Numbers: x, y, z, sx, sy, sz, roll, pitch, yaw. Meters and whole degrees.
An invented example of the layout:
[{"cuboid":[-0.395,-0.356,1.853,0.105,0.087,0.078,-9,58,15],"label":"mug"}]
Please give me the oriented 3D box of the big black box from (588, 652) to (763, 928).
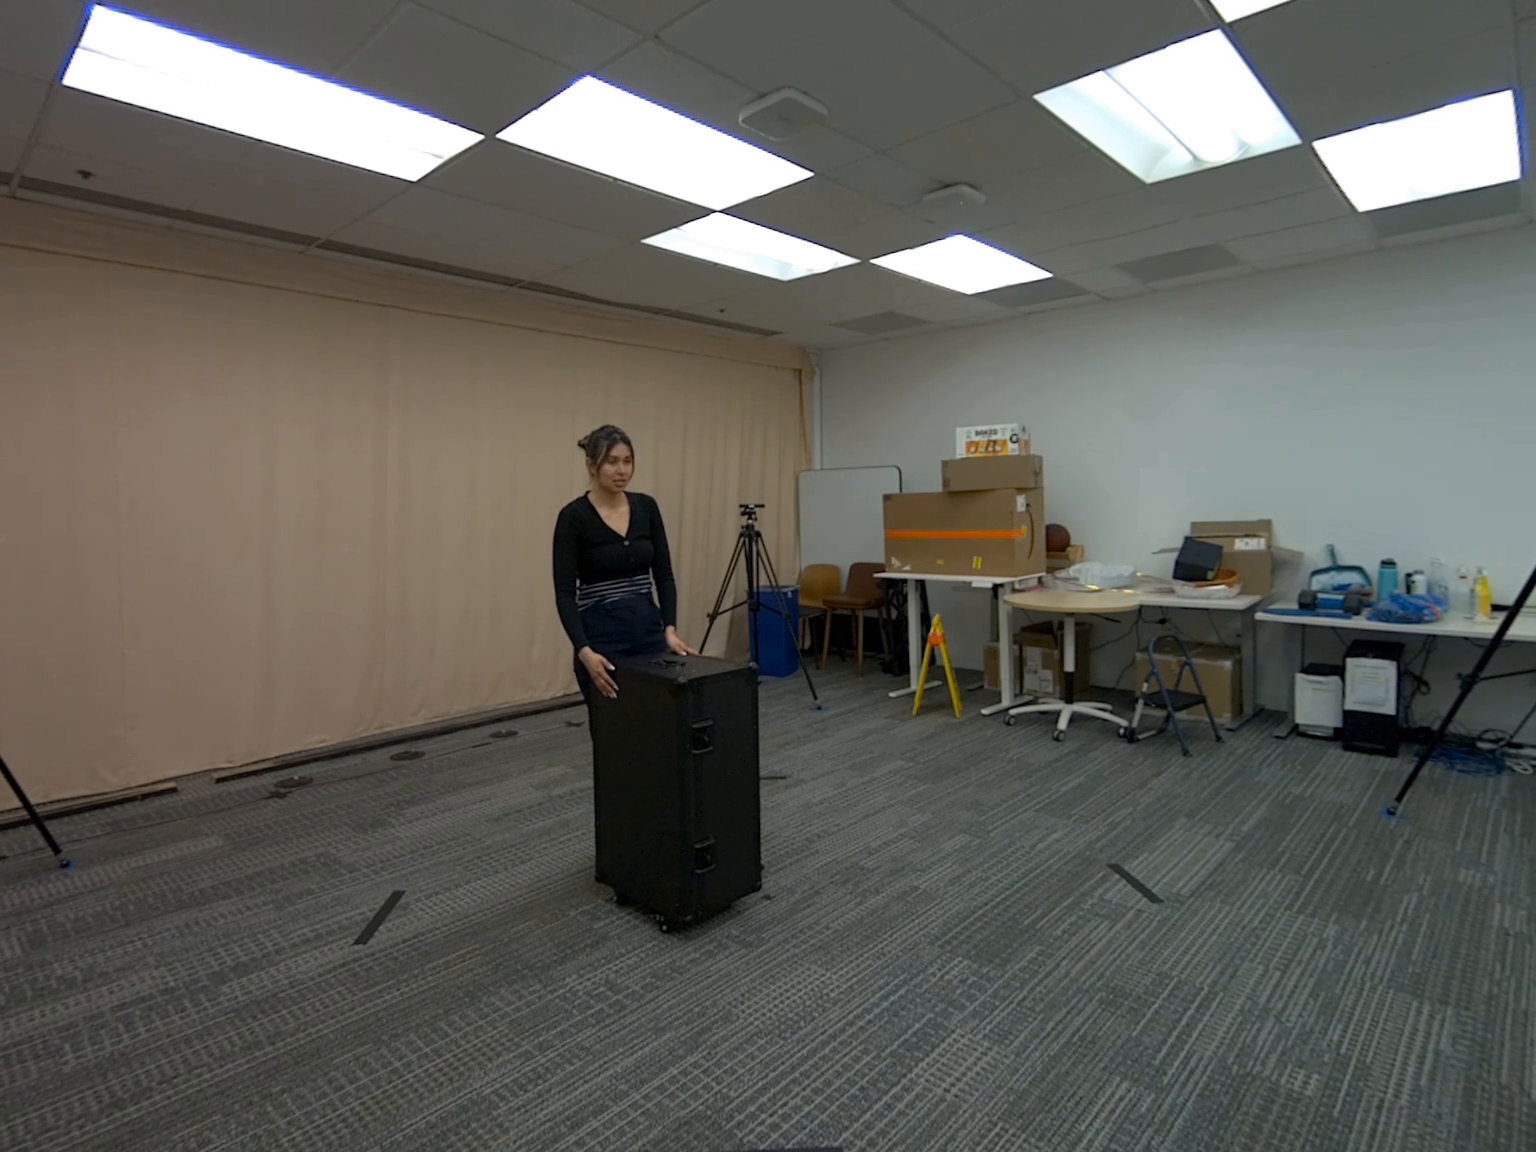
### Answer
[{"cuboid":[-0.301,0.673,2.916,0.538,0.860,0.384,2,4,44],"label":"big black box"}]
